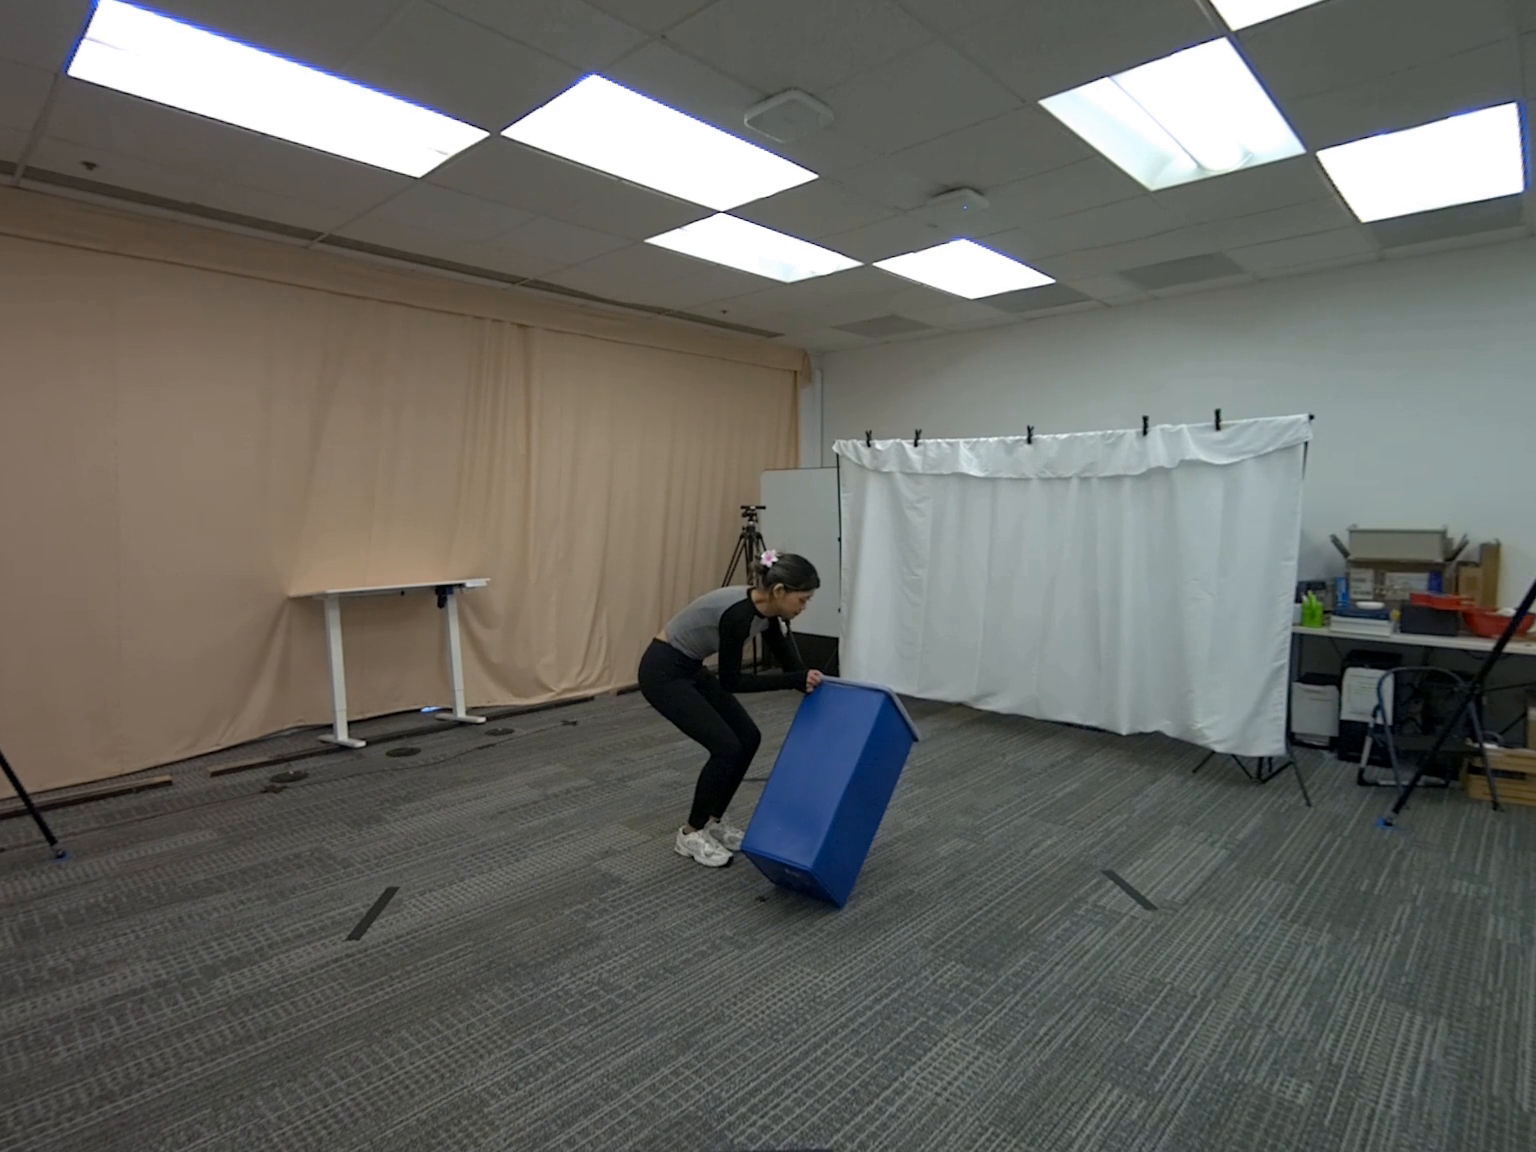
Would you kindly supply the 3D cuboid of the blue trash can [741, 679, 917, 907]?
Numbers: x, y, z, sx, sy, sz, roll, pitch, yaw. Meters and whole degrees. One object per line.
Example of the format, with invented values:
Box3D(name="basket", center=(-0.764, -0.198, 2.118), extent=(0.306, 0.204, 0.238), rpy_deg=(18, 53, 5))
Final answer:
Box3D(name="blue trash can", center=(0.225, 0.774, 3.080), extent=(0.386, 0.713, 0.366), rpy_deg=(3, -39, 38))
